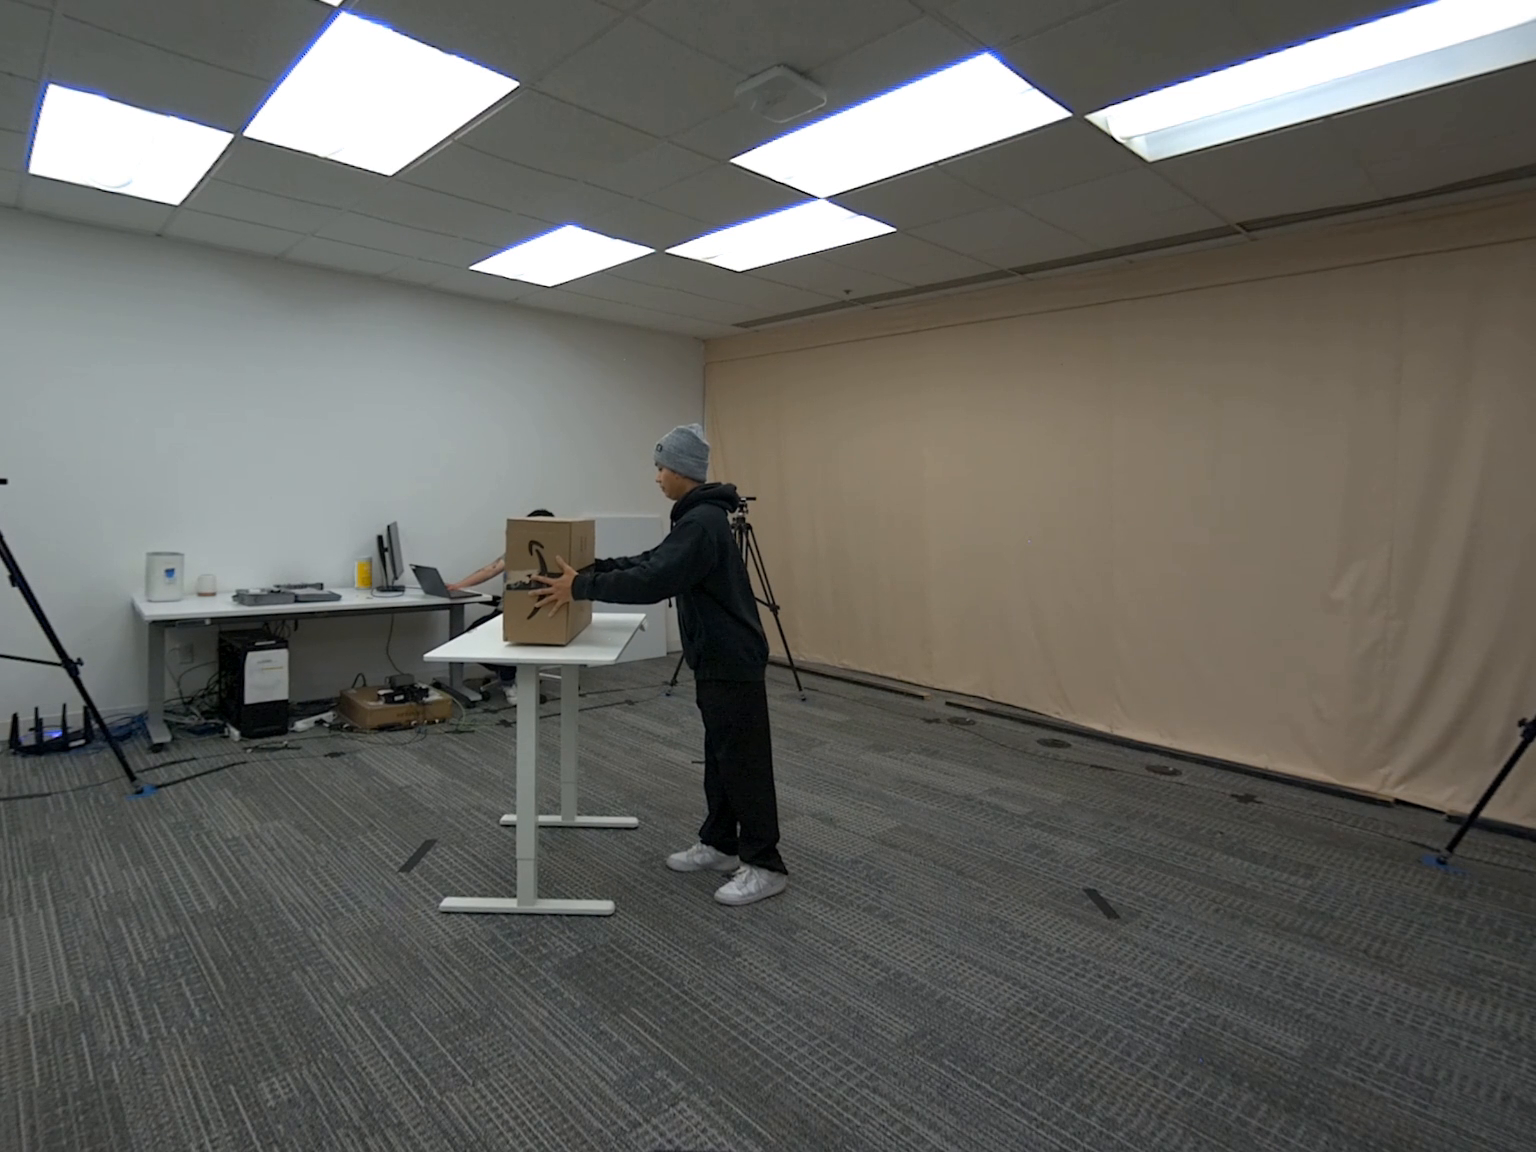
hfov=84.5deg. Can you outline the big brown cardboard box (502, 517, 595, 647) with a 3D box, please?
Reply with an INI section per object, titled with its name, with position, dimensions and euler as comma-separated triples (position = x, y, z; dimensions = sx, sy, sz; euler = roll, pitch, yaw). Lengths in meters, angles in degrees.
[big brown cardboard box]
position = -0.791, -0.003, 3.086
dimensions = 0.232, 0.417, 0.591
euler = 2, 3, -4
